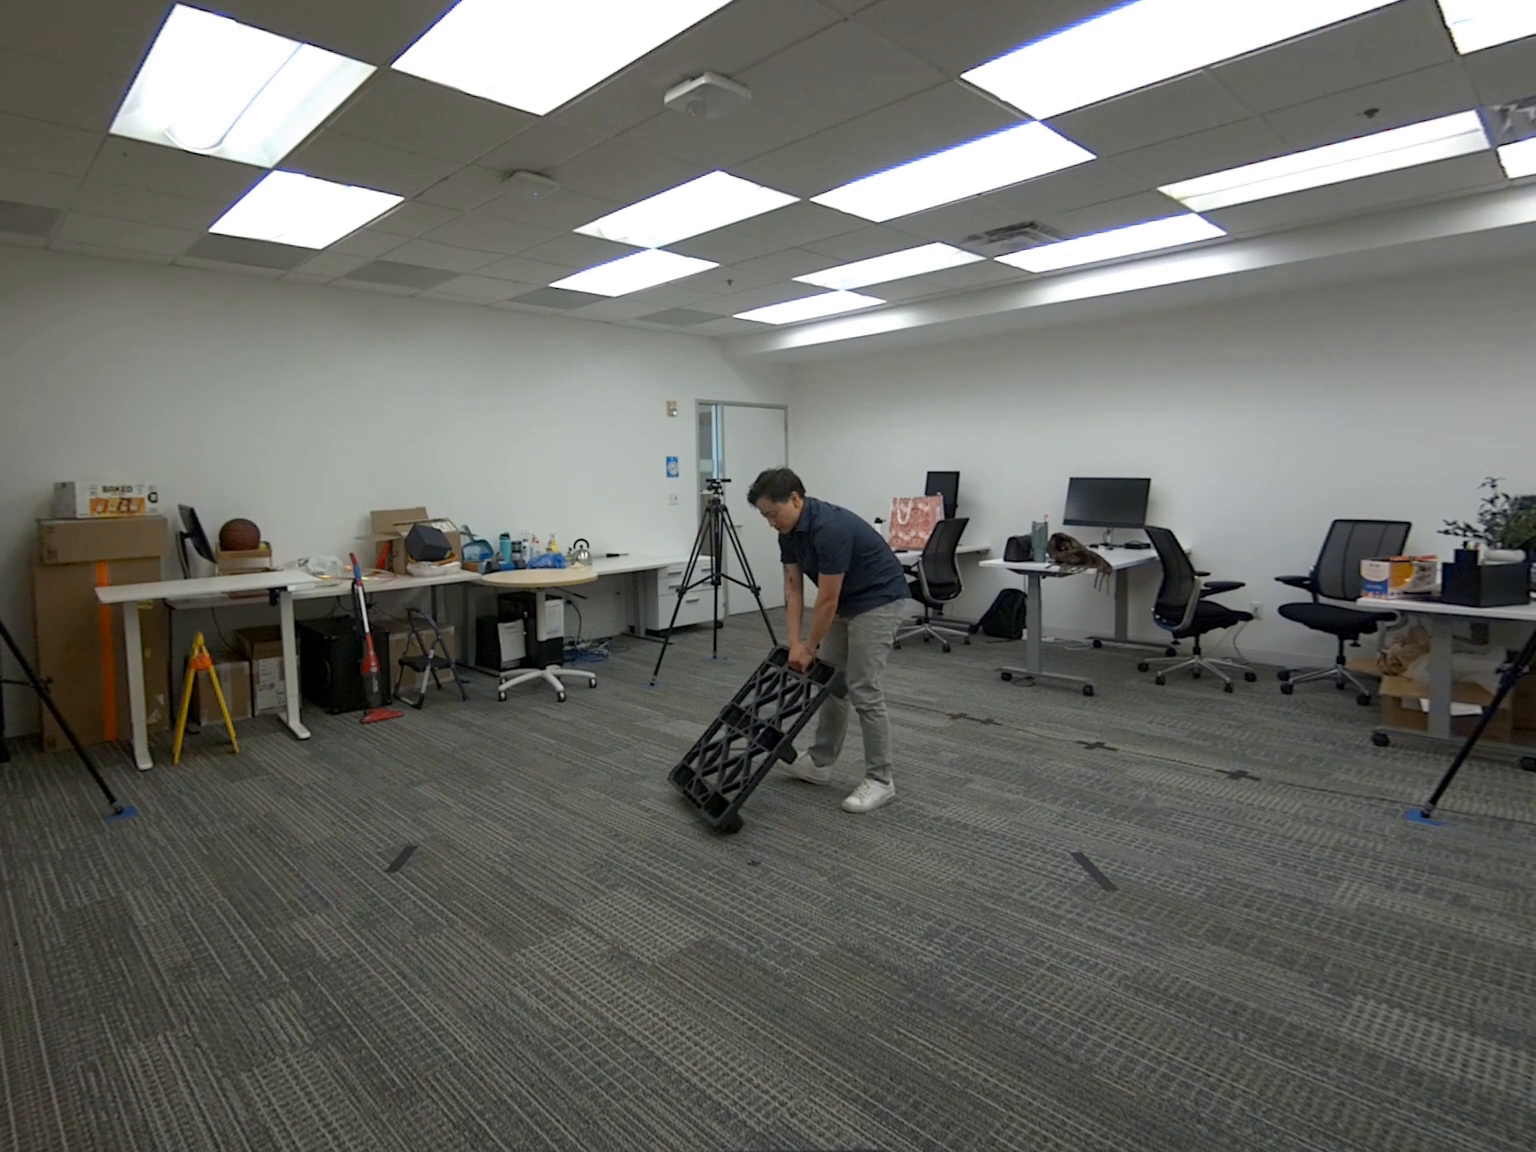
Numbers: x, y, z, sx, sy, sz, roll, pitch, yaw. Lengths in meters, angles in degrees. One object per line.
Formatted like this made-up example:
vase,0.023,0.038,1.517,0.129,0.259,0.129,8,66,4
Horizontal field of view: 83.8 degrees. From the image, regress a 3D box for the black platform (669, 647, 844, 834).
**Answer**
black platform,-0.030,0.675,3.646,0.140,0.806,0.620,45,-13,-22
